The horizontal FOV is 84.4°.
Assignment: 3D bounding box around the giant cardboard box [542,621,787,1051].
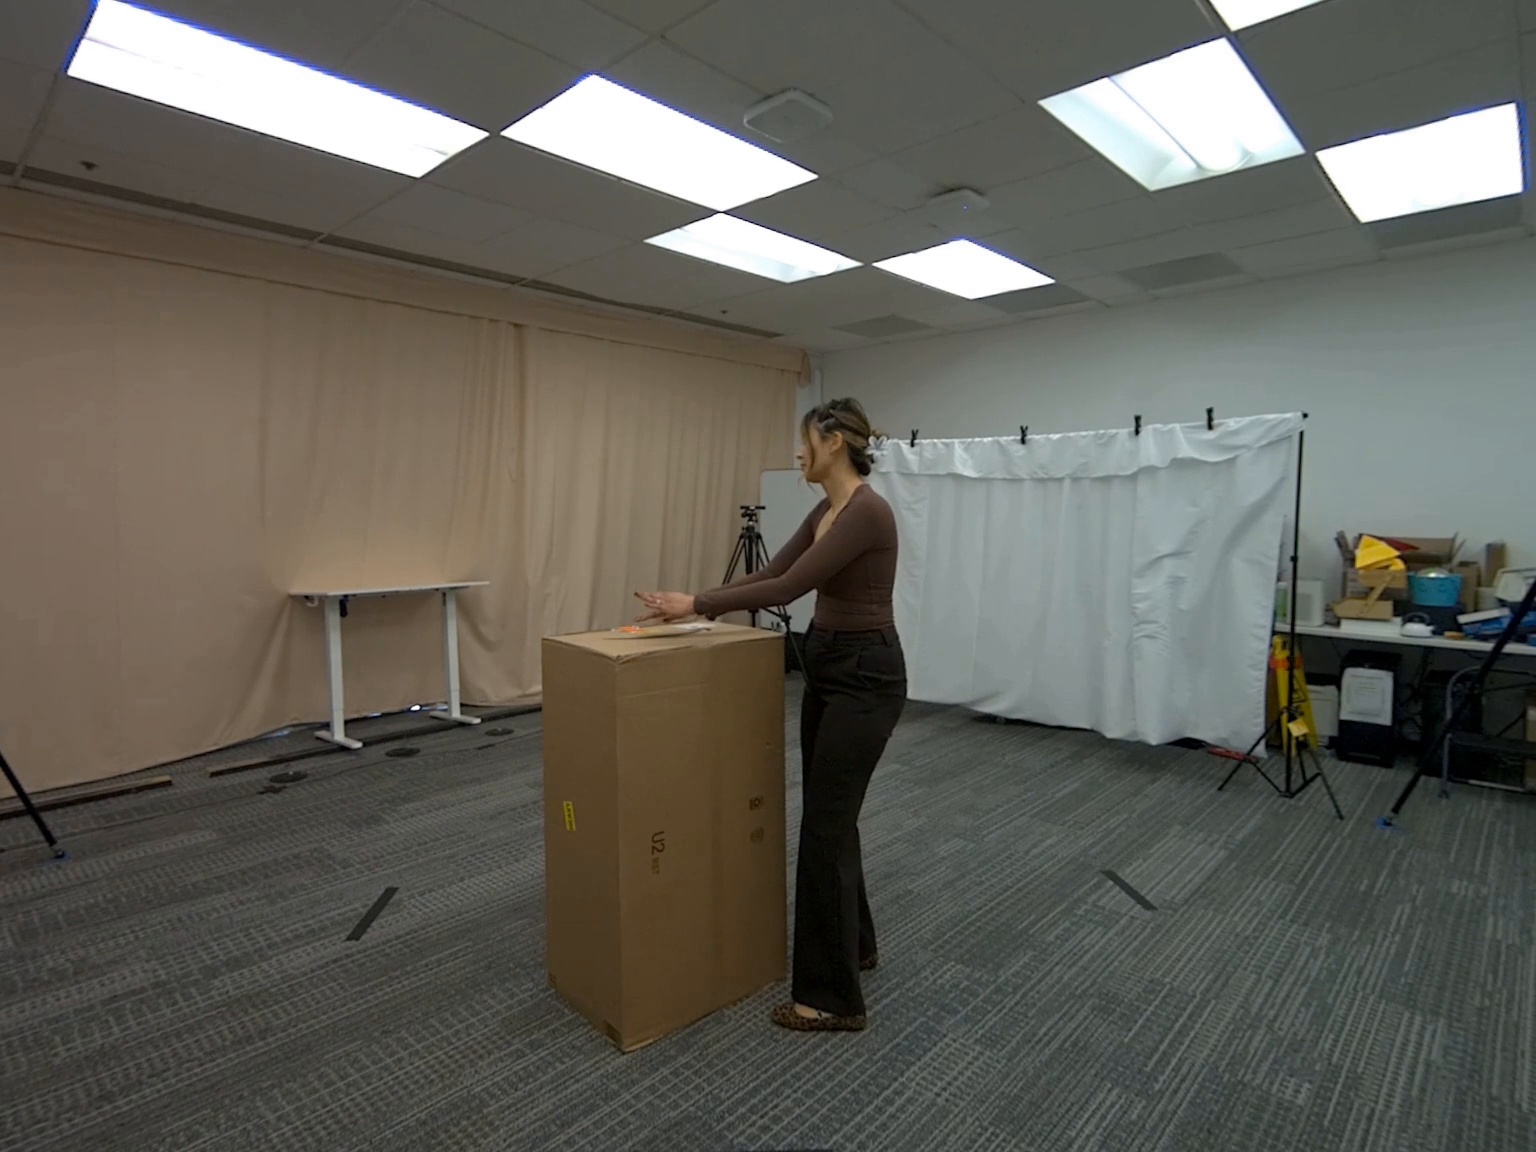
[{"bbox_3d":[-0.299,0.680,2.455,0.566,1.025,0.461,-2,3,-39],"label":"giant cardboard box"}]
